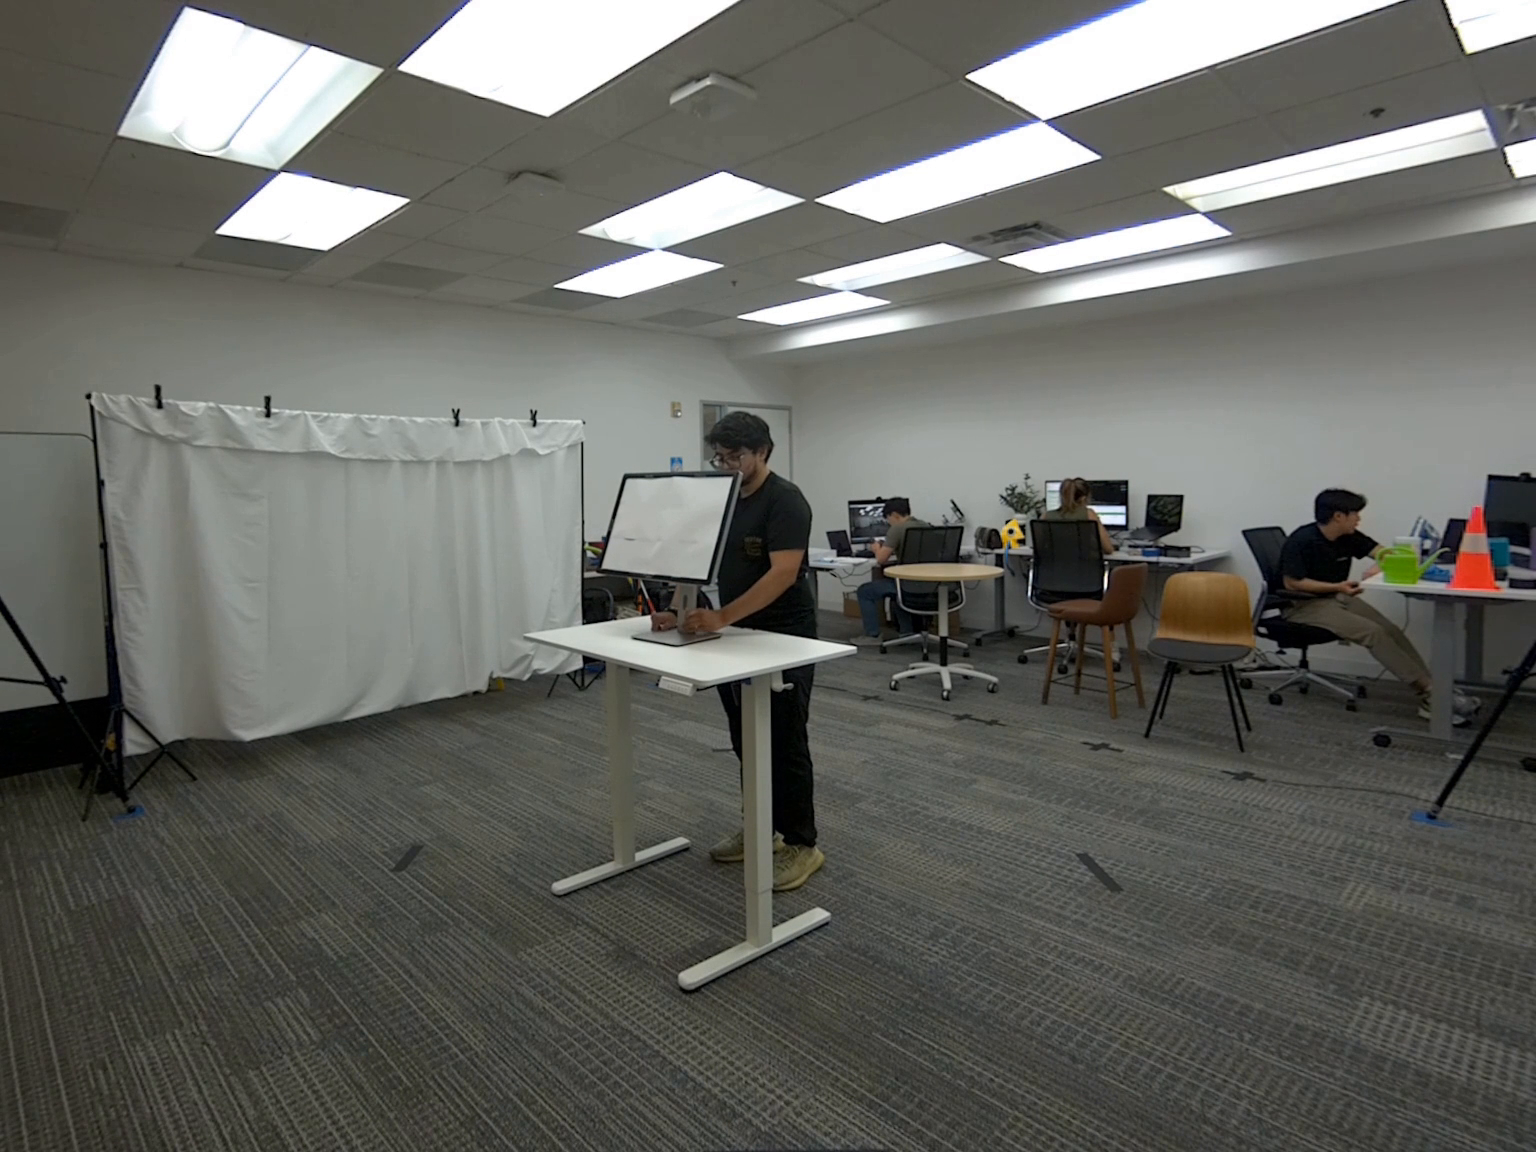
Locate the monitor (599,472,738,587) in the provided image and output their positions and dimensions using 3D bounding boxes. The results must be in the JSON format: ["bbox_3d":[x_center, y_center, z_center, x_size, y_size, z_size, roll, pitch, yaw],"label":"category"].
[{"bbox_3d":[-0.289,-0.063,2.799,0.583,0.556,0.203,3,-6,43],"label":"monitor"}]
